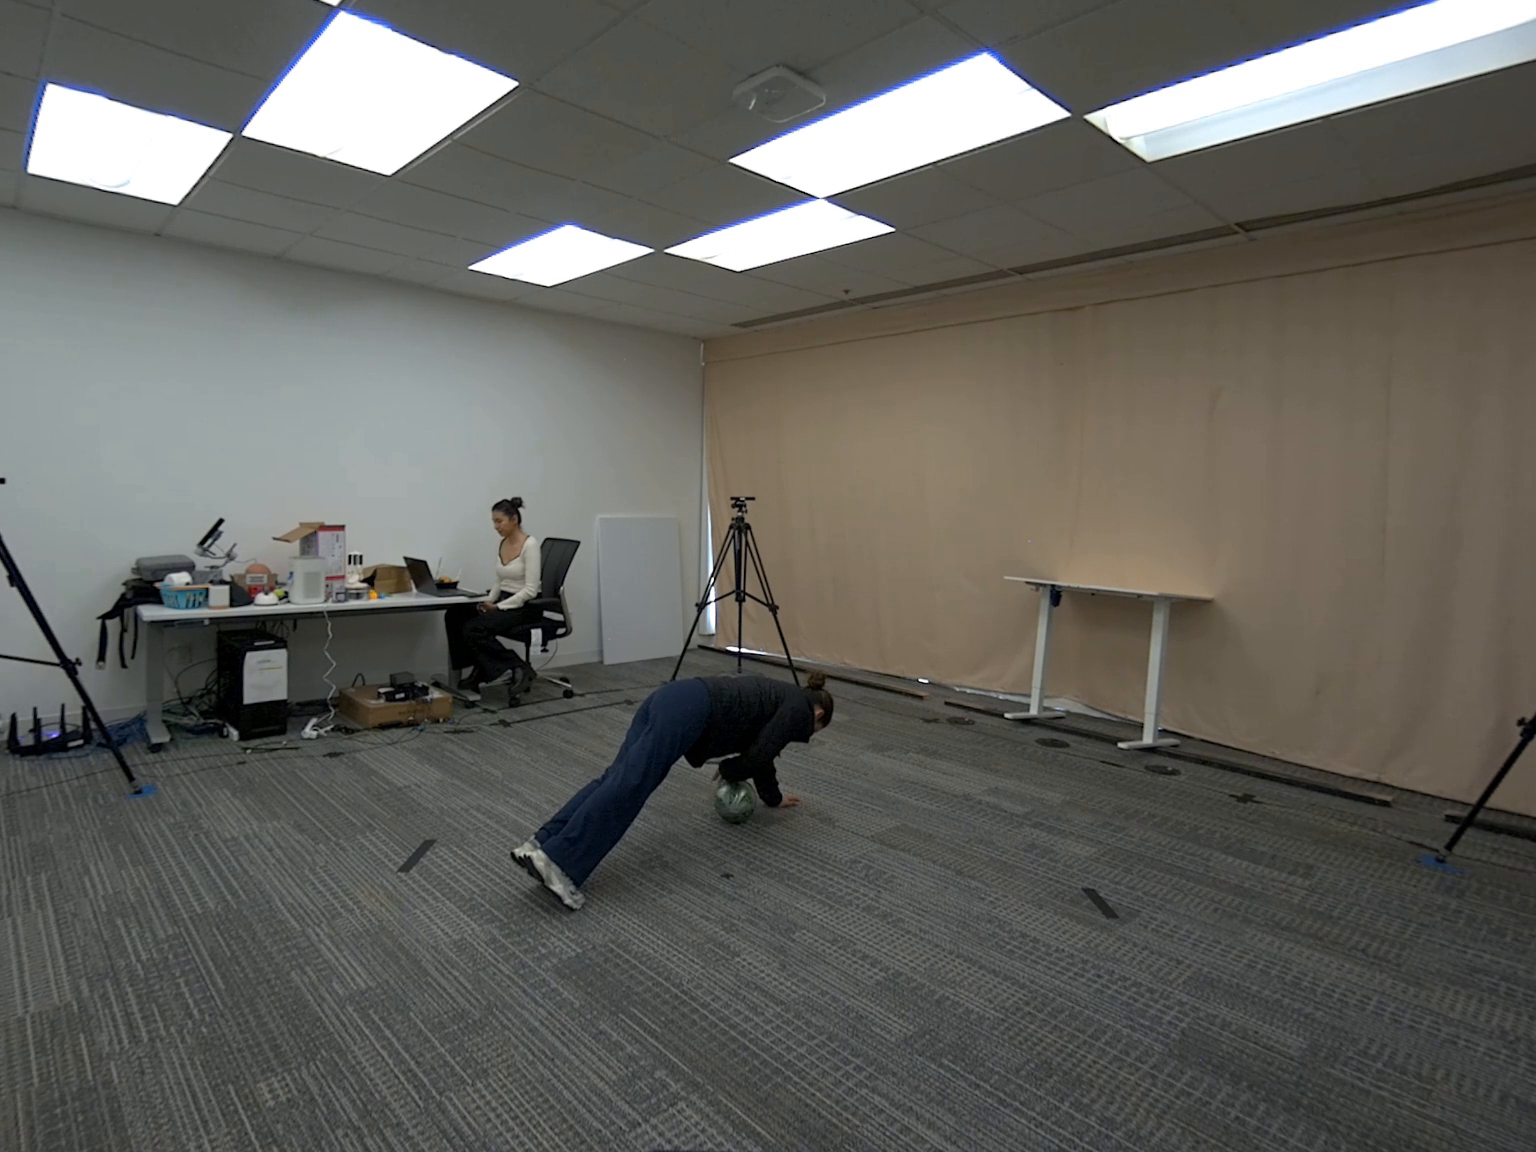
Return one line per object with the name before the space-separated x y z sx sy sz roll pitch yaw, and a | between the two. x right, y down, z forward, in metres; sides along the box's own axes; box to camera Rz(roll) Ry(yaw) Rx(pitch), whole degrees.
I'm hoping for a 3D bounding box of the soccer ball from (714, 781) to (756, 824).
soccer ball | -0.146 0.967 3.634 0.187 0.187 0.188 1 4 -1
